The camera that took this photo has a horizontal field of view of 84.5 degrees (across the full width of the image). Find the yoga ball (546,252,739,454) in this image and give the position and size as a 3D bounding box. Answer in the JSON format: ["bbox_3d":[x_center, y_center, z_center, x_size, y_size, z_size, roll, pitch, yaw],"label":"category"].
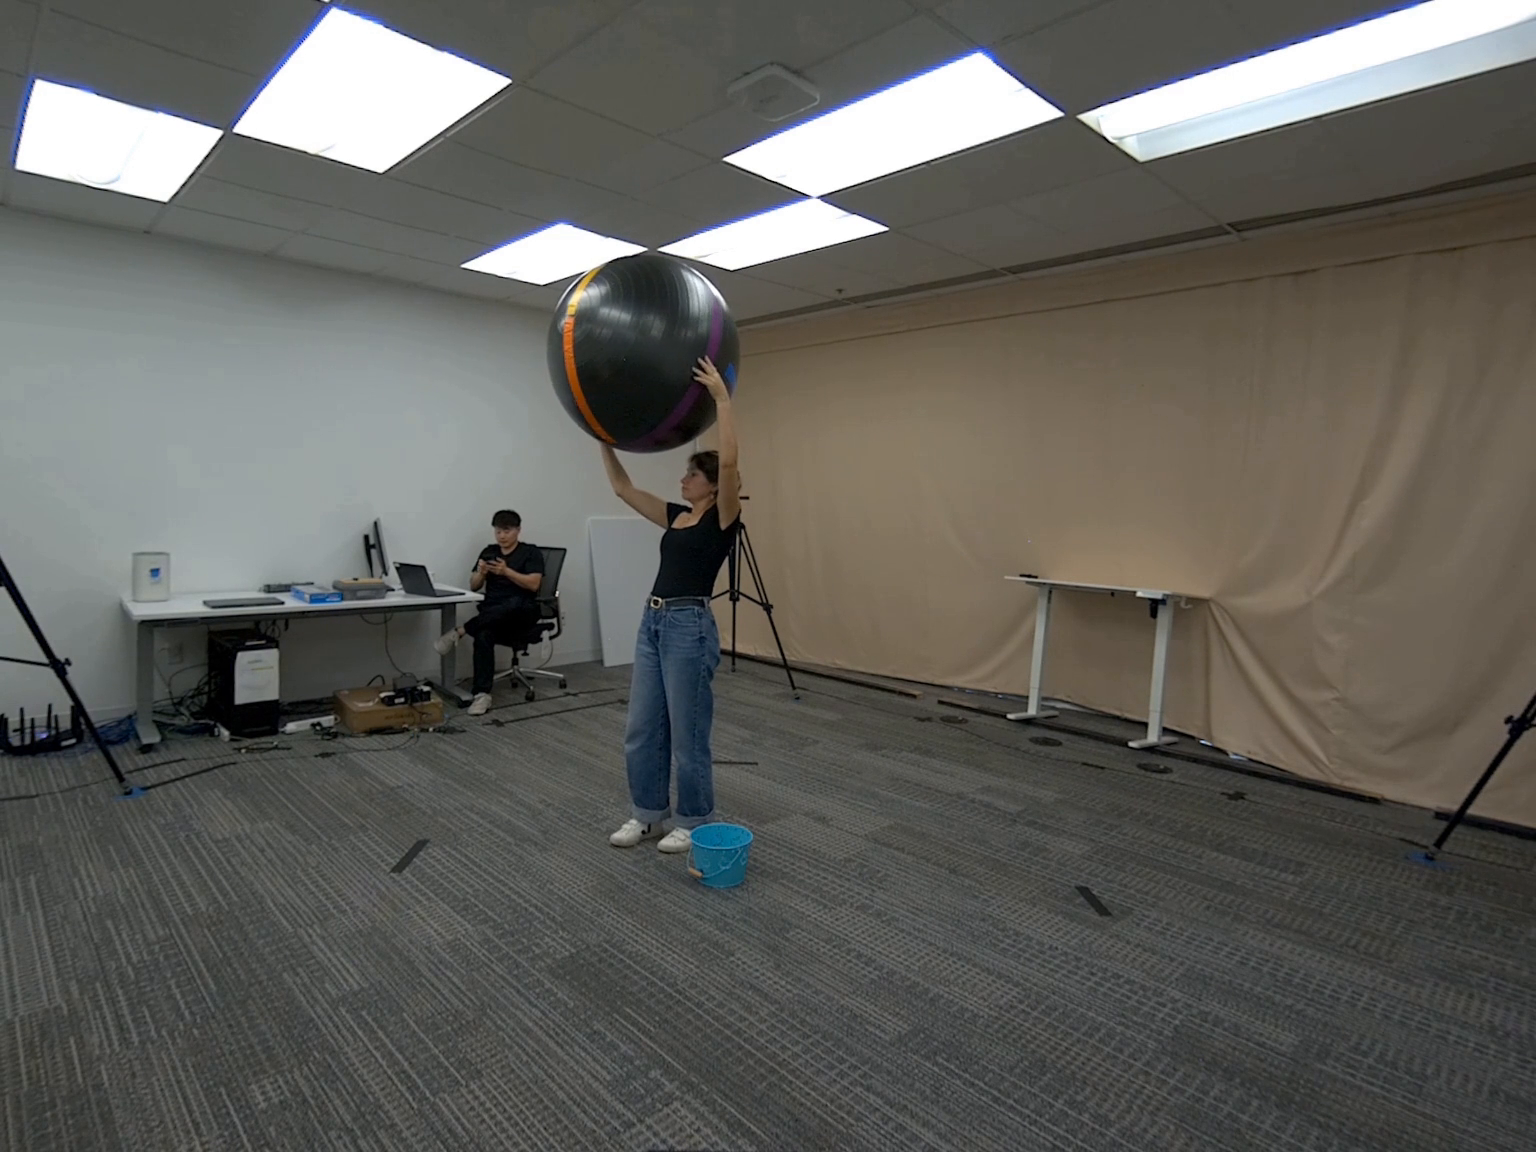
[{"bbox_3d":[-0.486,-0.865,3.322,0.757,0.756,0.761,1,4,-1],"label":"yoga ball"}]
